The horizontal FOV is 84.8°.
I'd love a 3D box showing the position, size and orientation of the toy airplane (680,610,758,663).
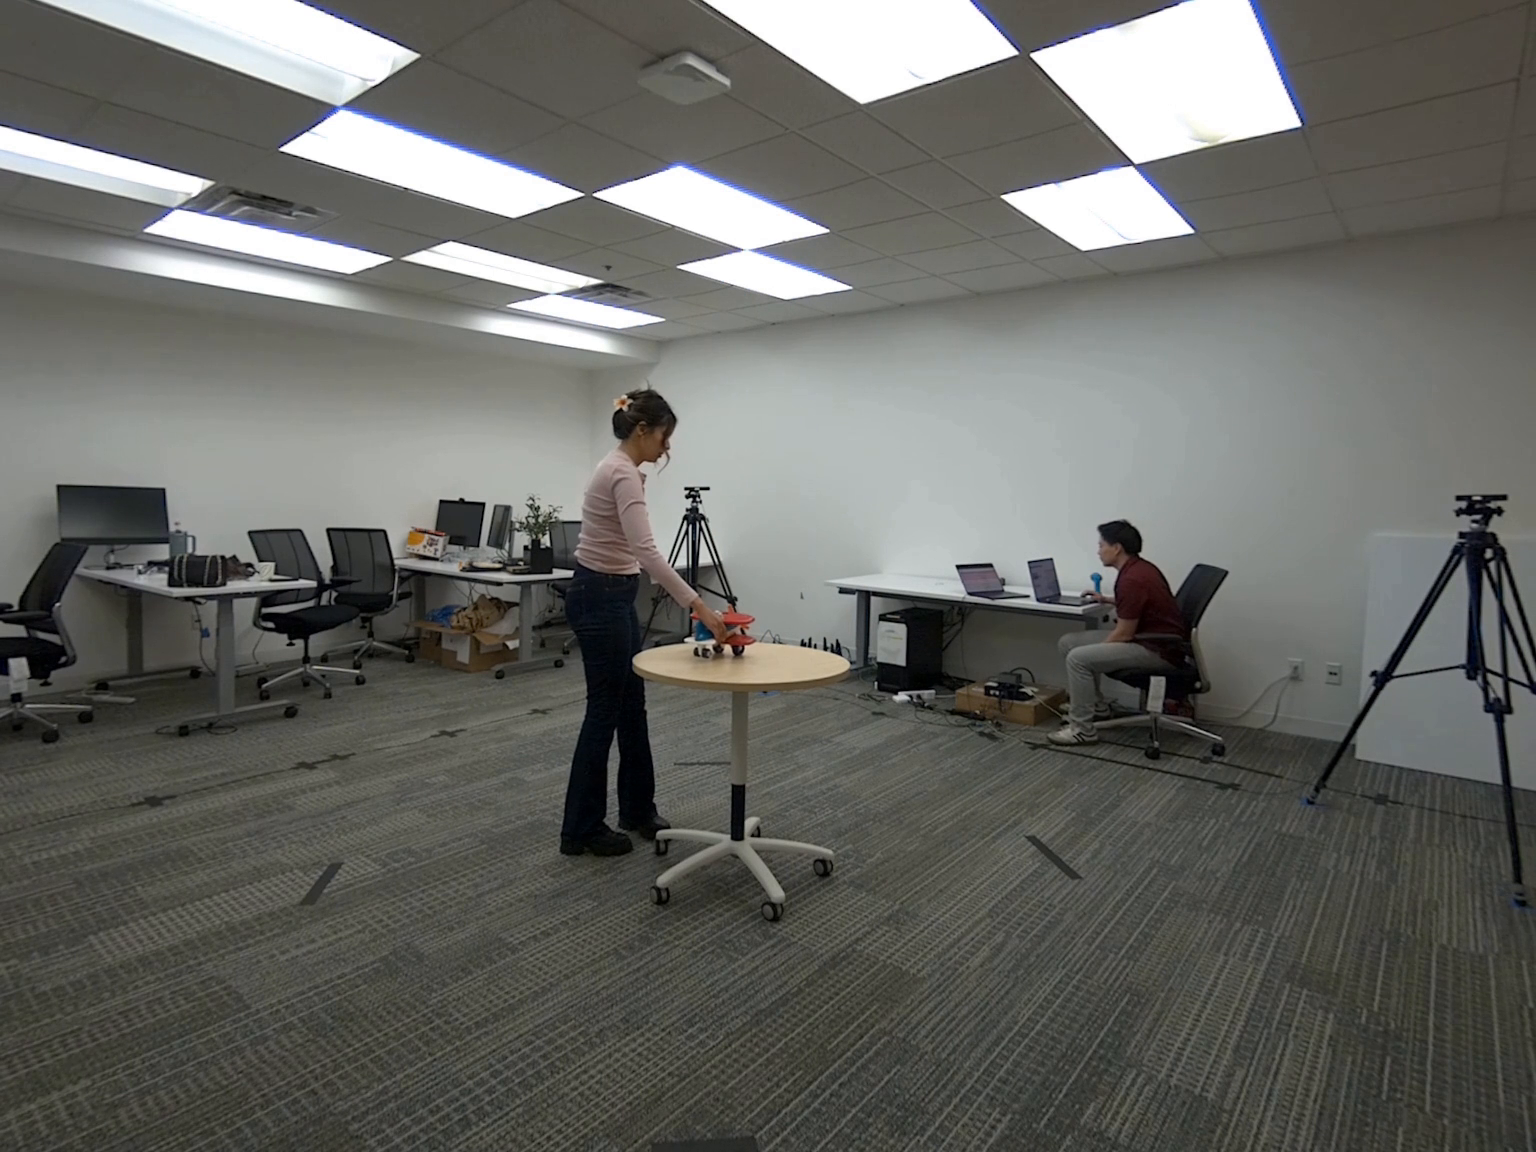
[{"bbox_3d":[-0.174,0.208,3.037,0.252,0.156,0.258,4,0,3],"label":"toy airplane"}]
